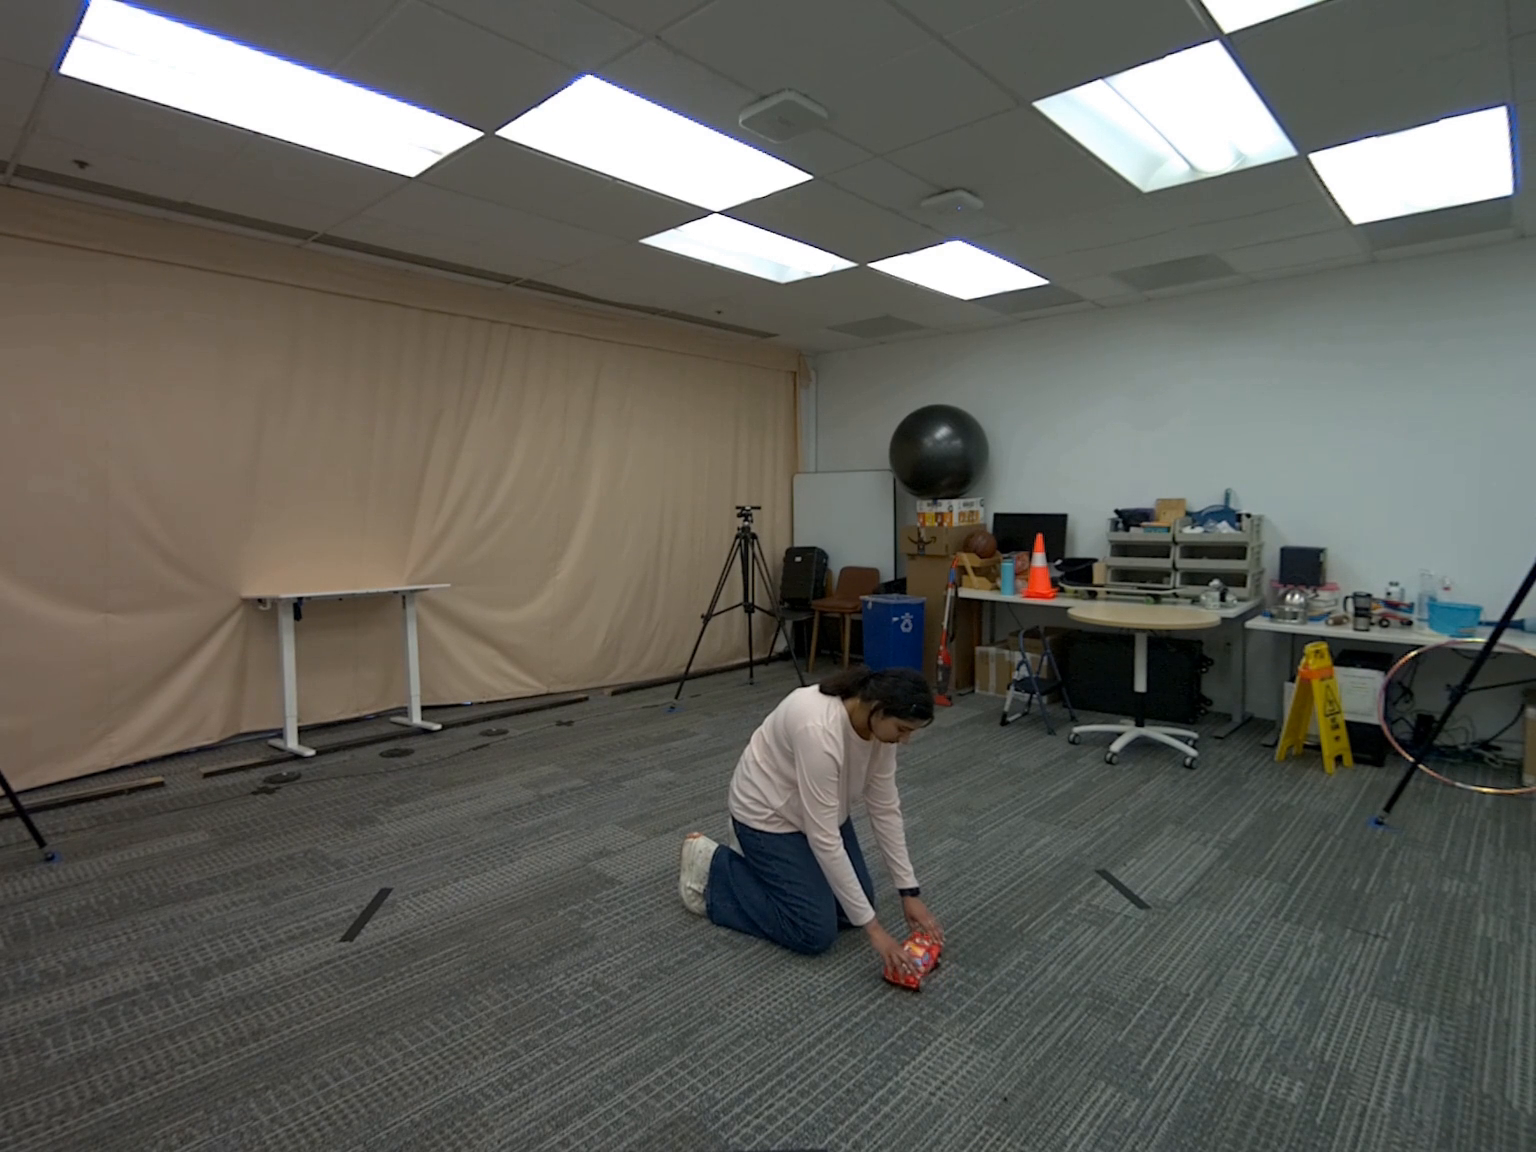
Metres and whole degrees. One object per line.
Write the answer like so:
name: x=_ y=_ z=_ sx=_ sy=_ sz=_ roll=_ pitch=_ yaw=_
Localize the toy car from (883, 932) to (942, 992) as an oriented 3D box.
toy car: x=0.444 y=1.149 z=2.521 sx=0.134 sy=0.082 sz=0.249 roll=4 pitch=17 yaw=32
